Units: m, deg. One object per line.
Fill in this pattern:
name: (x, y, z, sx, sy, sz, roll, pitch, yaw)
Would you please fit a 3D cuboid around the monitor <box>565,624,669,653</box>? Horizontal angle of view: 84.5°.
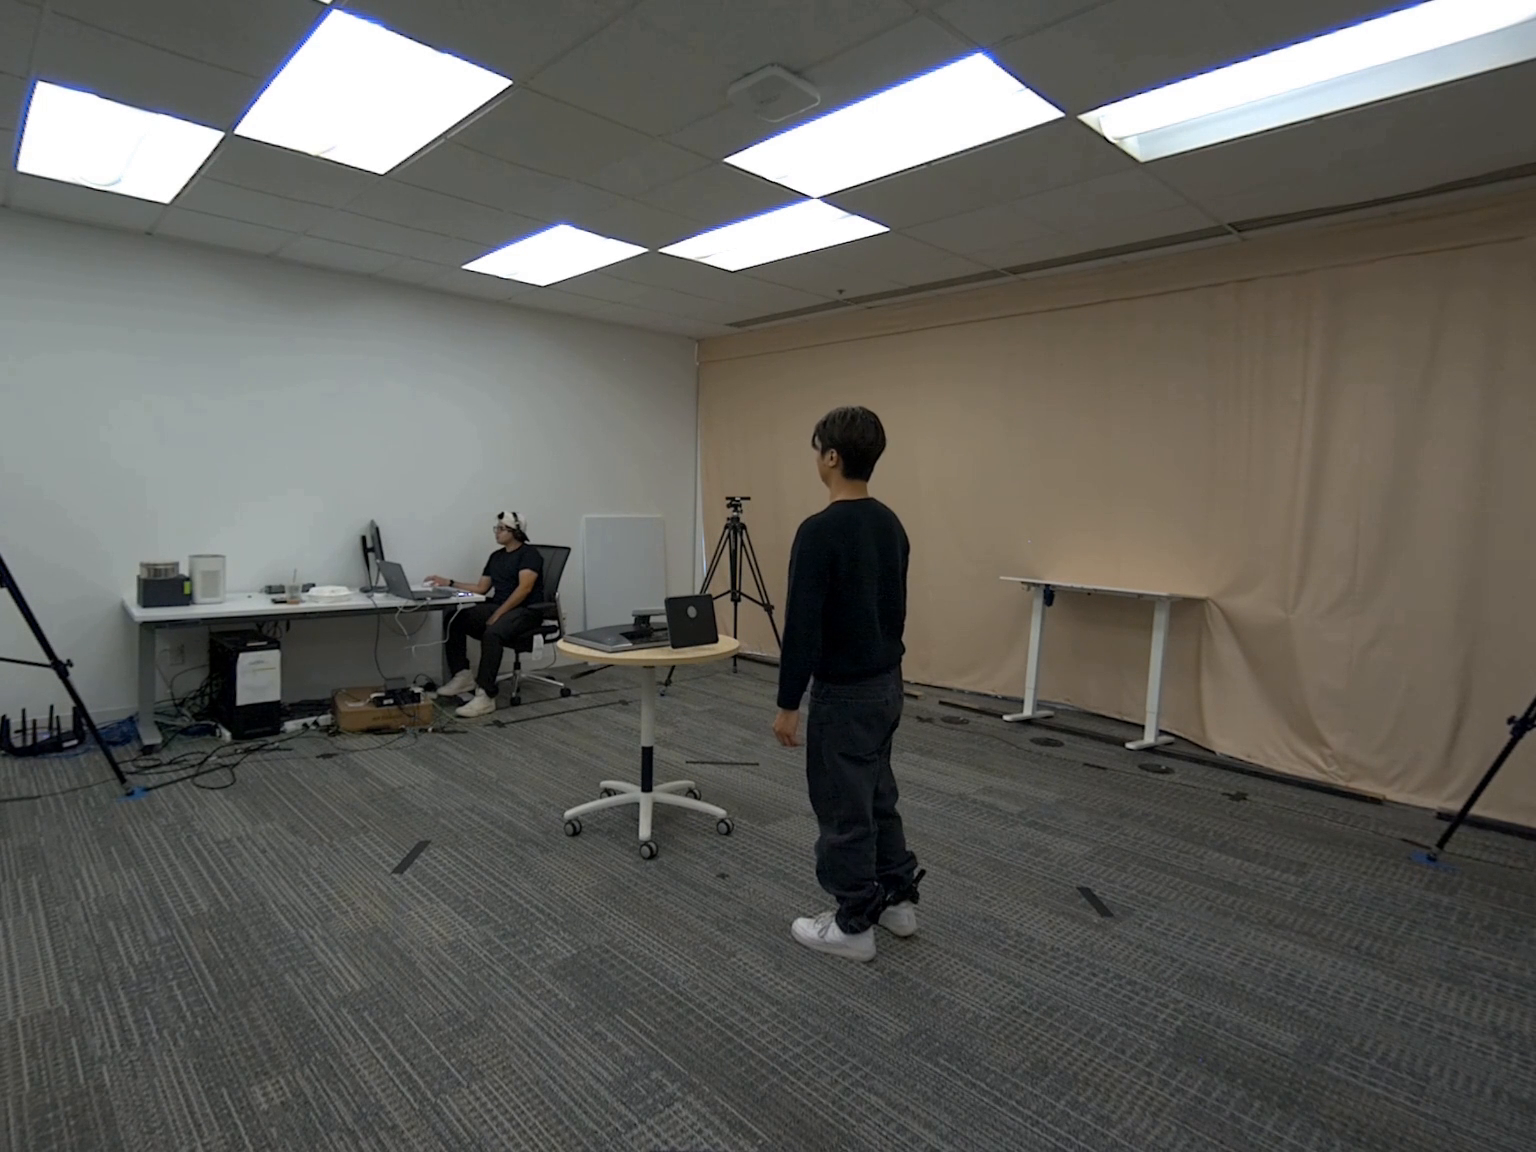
monitor: (-0.505, 0.211, 3.541, 0.526, 0.188, 0.531, 0, -10, -42)
